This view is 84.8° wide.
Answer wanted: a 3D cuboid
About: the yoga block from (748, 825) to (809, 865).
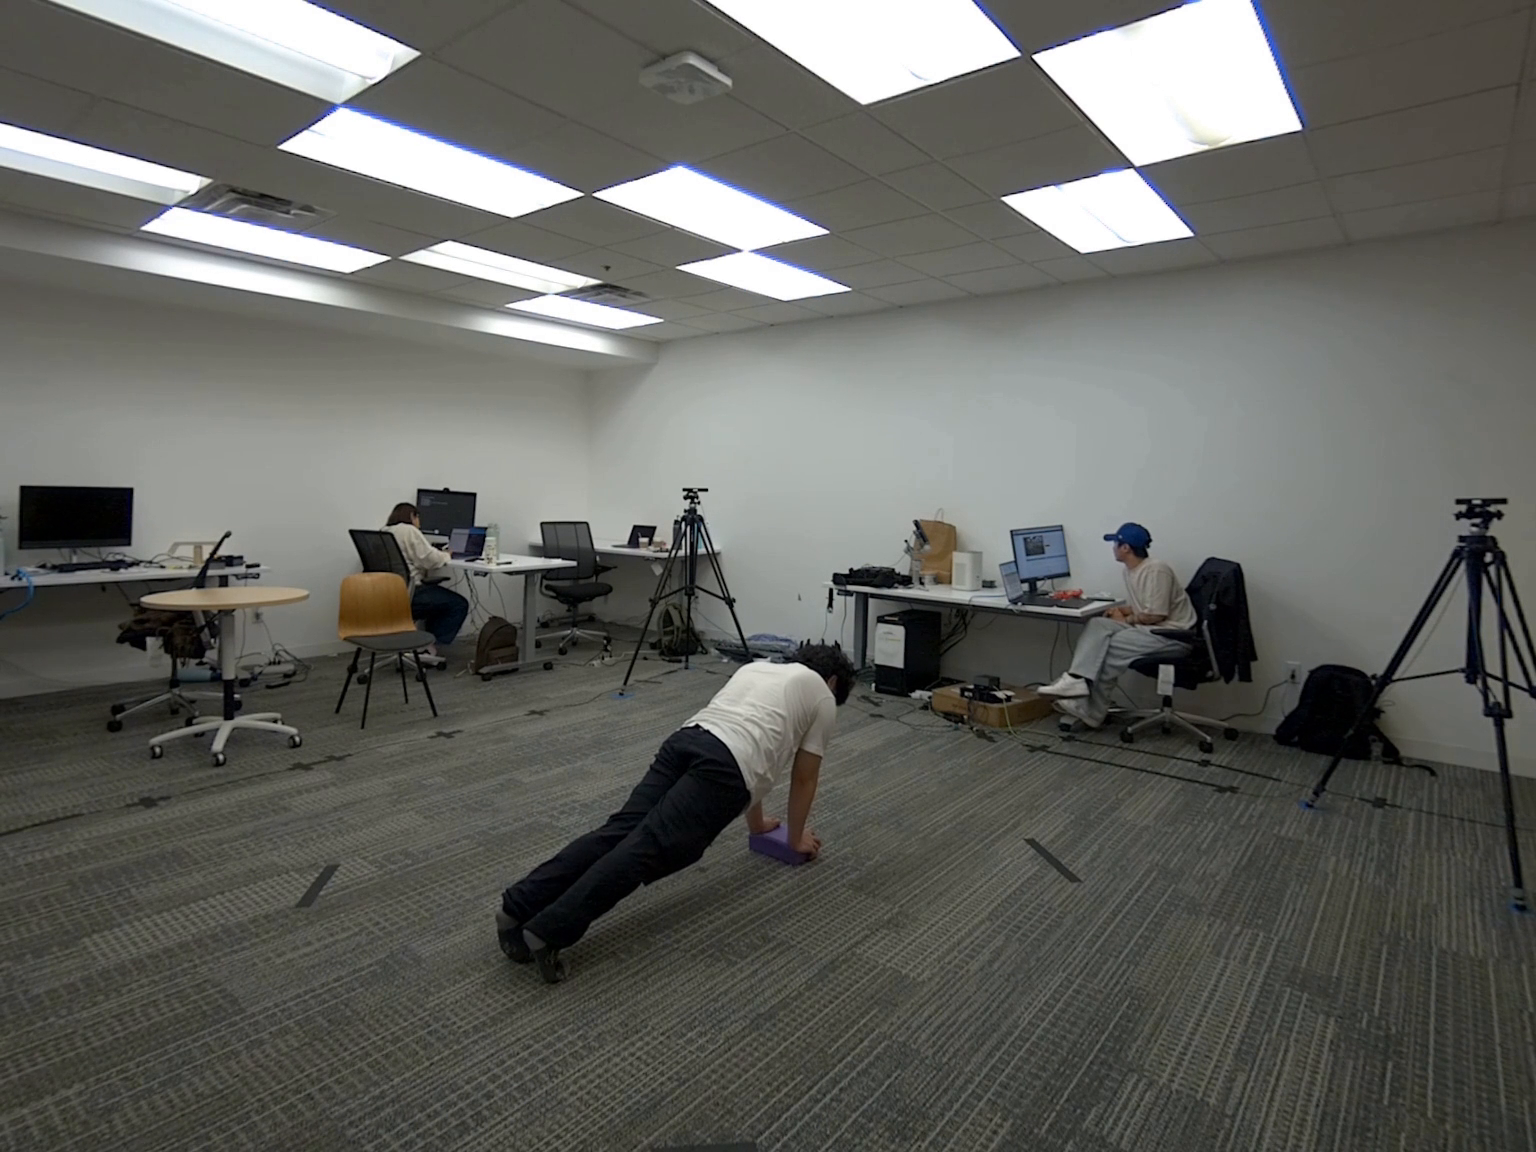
[{"bbox_3d":[0.048,1.025,3.277,0.237,0.076,0.144,5,5,38],"label":"yoga block"}]
